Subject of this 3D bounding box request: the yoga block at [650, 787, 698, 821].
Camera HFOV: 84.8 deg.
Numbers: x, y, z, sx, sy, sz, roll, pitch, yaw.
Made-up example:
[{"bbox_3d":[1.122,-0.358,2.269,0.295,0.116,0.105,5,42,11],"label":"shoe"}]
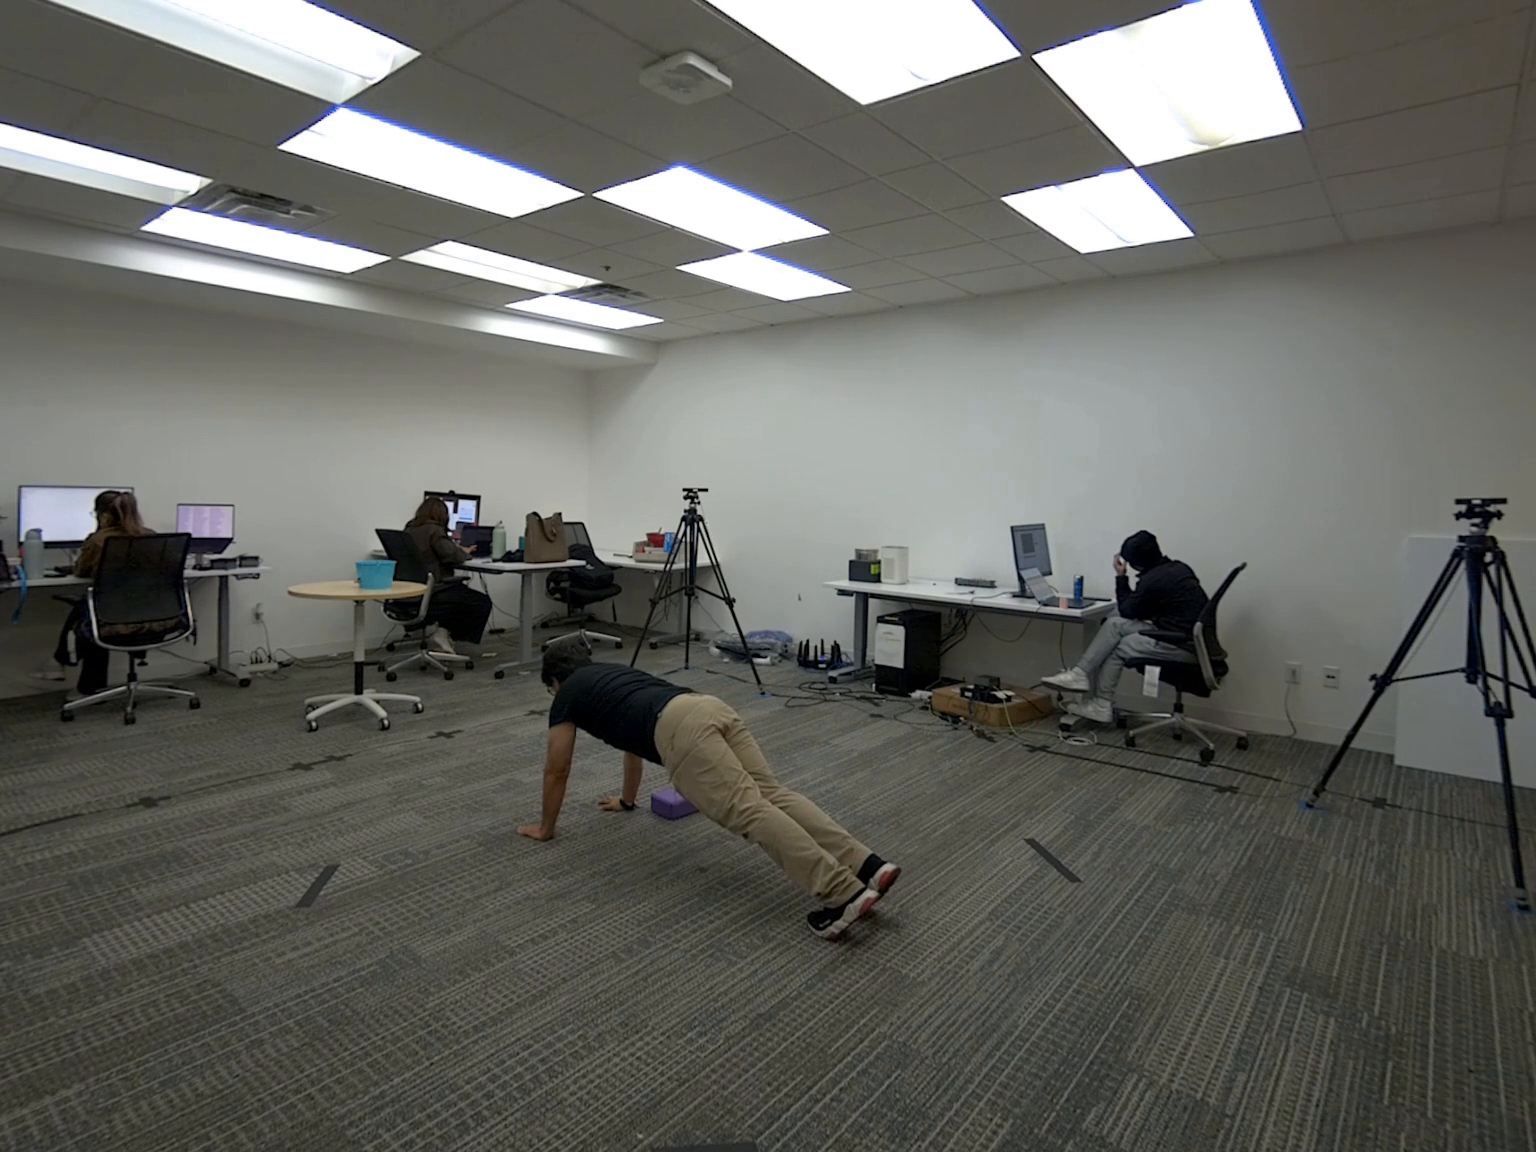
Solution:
[{"bbox_3d":[-0.390,0.965,3.685,0.154,0.076,0.222,6,8,44],"label":"yoga block"}]
